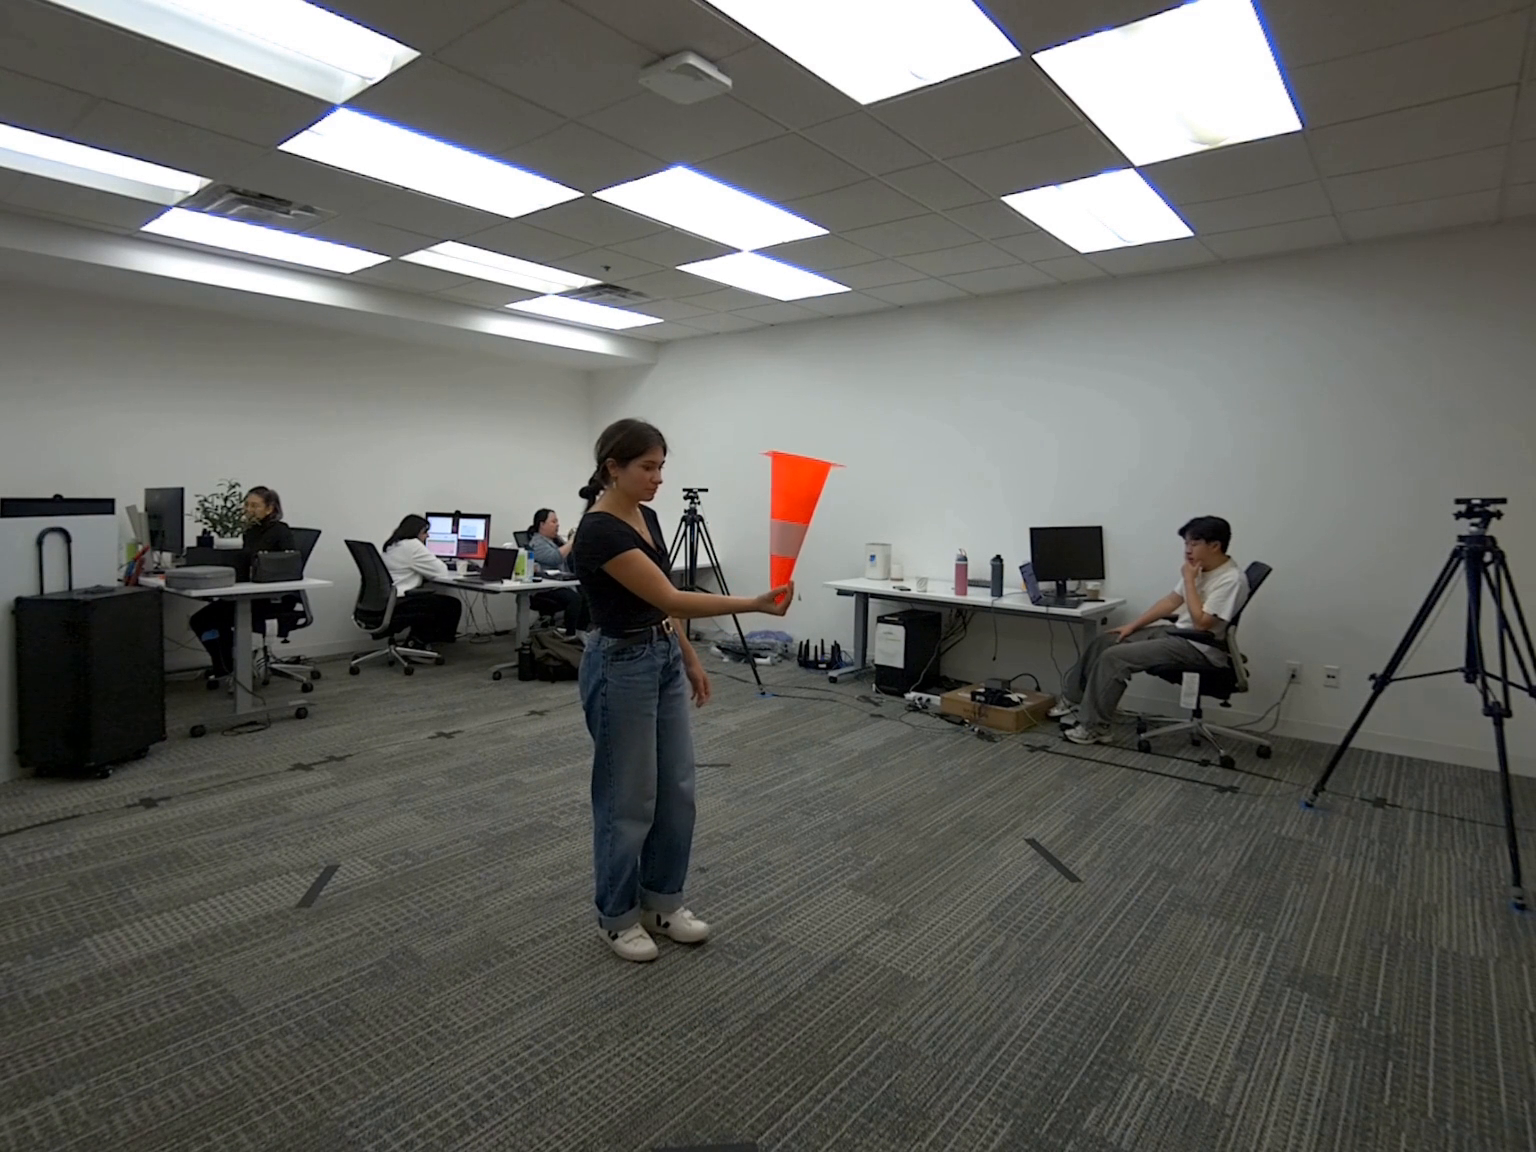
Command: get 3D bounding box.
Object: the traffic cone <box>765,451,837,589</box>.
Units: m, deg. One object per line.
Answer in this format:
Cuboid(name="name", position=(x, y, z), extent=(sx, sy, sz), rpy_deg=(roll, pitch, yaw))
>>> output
Cuboid(name="traffic cone", position=(0.049, -0.118, 2.213), extent=(0.202, 0.383, 0.207), rpy_deg=(11, 4, -8))
